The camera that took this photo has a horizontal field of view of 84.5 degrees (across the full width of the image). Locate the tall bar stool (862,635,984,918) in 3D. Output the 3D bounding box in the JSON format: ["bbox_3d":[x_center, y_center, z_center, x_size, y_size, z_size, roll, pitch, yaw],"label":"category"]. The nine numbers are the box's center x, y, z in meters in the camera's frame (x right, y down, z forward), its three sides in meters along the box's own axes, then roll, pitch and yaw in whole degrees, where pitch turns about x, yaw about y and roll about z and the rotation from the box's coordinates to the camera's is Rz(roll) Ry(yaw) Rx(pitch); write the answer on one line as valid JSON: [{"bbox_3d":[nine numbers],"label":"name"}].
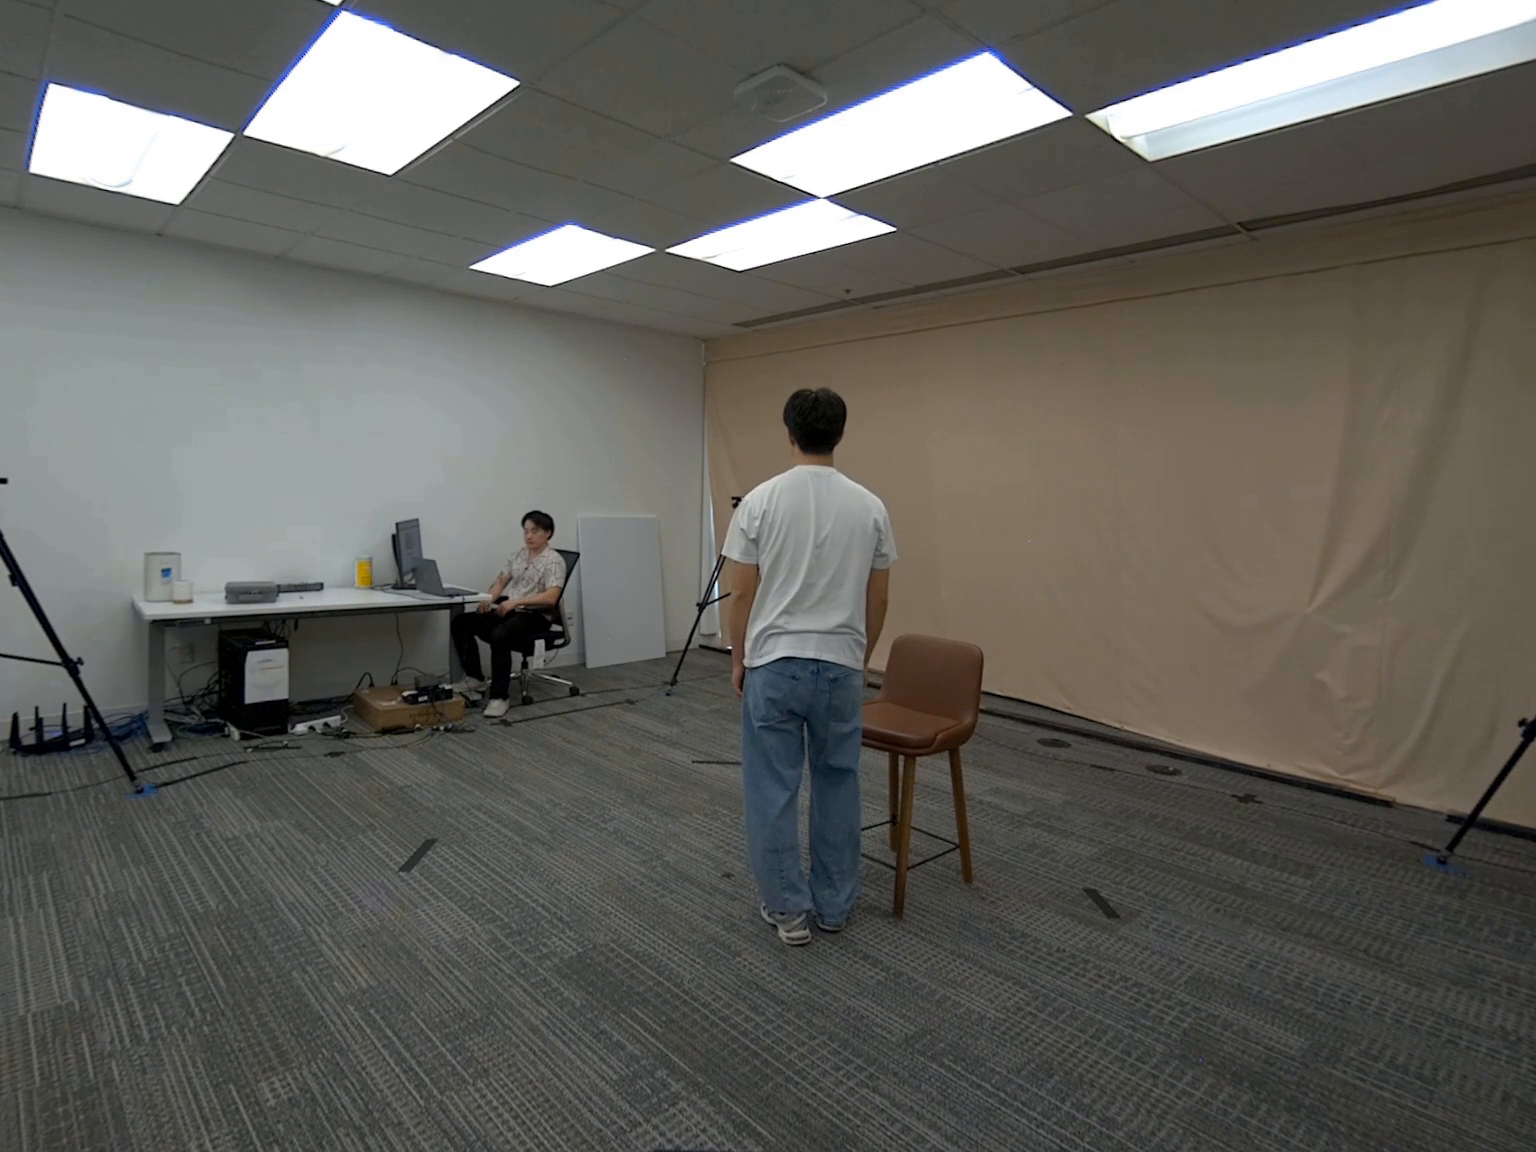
[{"bbox_3d":[0.479,0.685,3.086,0.456,0.889,0.468,2,2,-41],"label":"tall bar stool"}]
